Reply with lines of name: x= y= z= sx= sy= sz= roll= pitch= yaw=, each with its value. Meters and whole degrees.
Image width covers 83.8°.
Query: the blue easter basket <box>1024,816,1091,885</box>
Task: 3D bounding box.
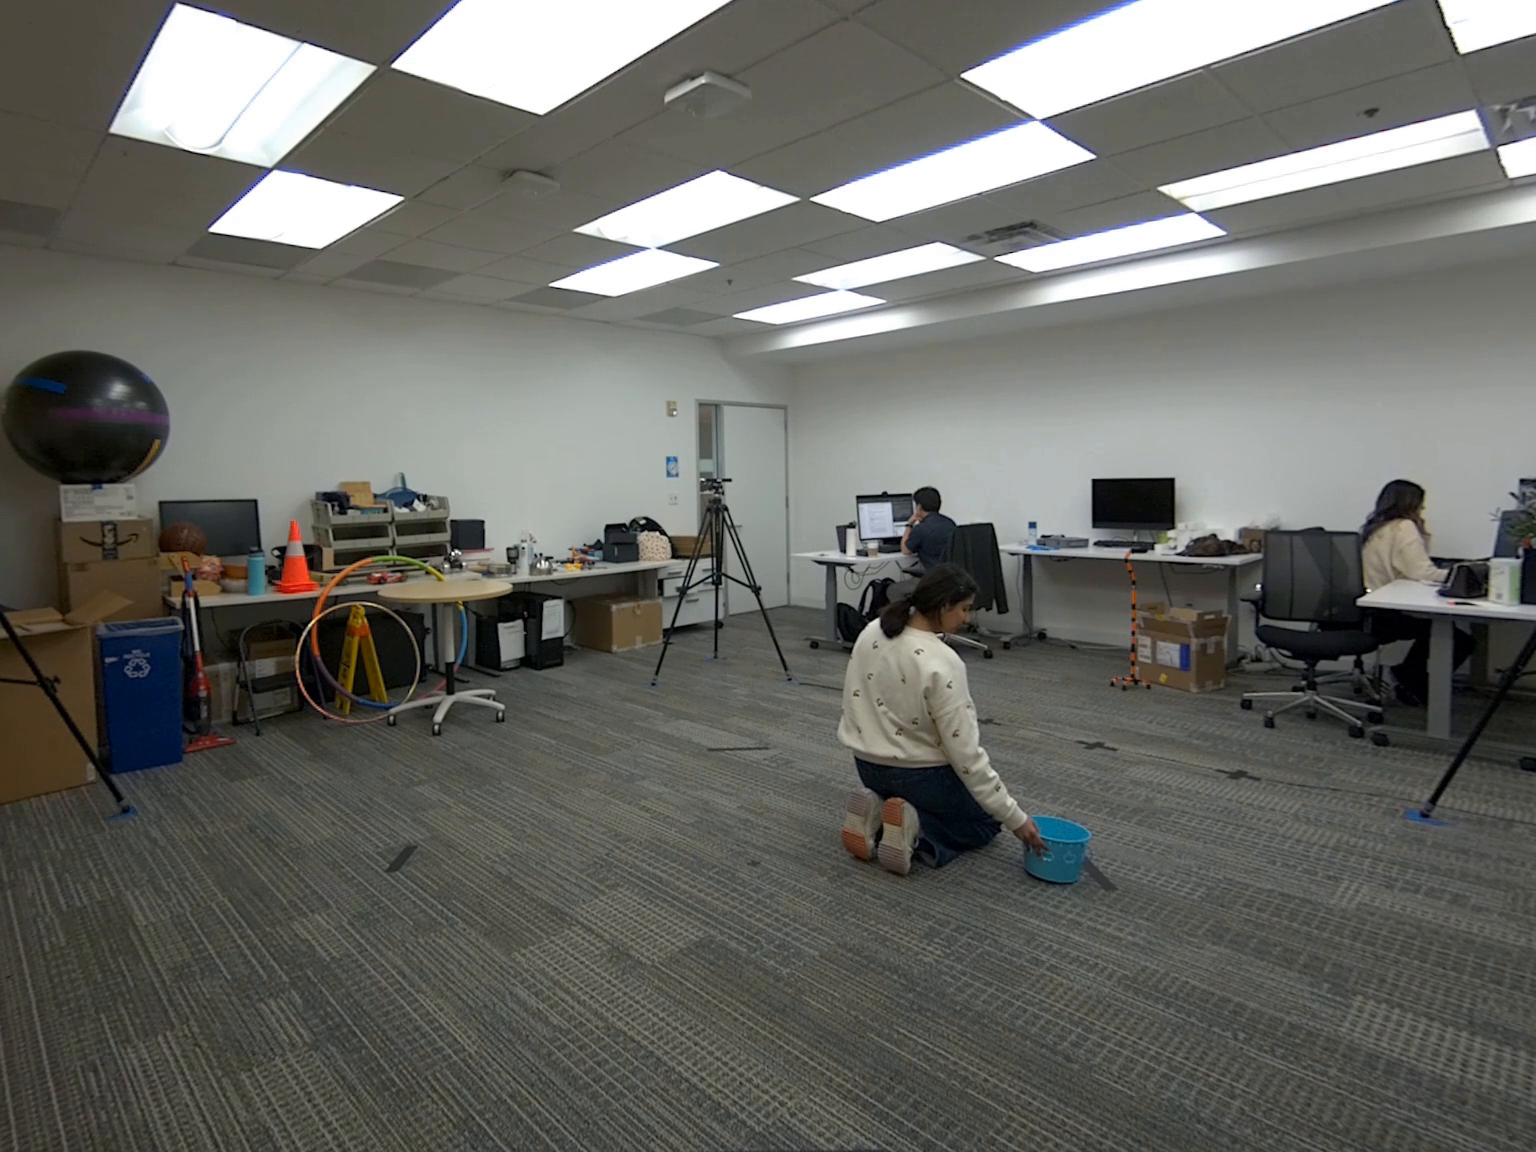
blue easter basket: x=1.002 y=0.950 z=2.977 sx=0.243 sy=0.155 sz=0.245 roll=3 pitch=5 yaw=-2
